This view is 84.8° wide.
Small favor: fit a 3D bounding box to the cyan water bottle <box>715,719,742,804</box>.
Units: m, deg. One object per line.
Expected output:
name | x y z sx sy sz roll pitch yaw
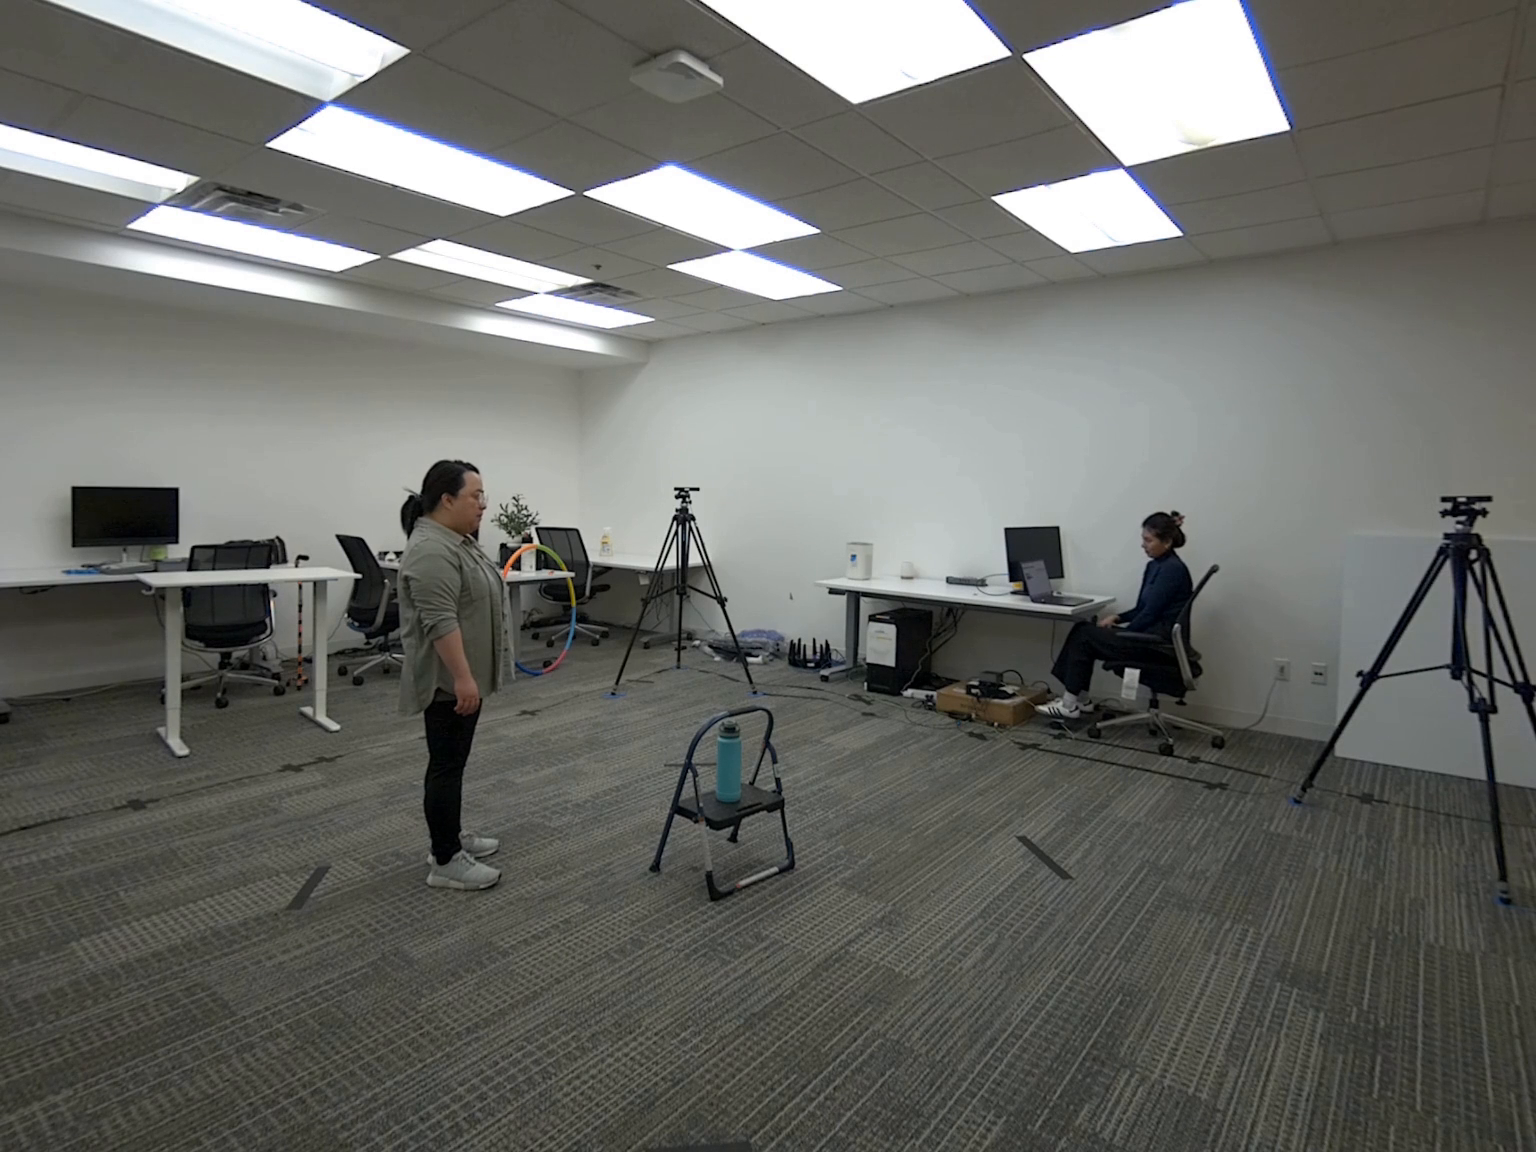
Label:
cyan water bottle | -0.154 0.670 3.093 0.092 0.283 0.092 0 0 -2
